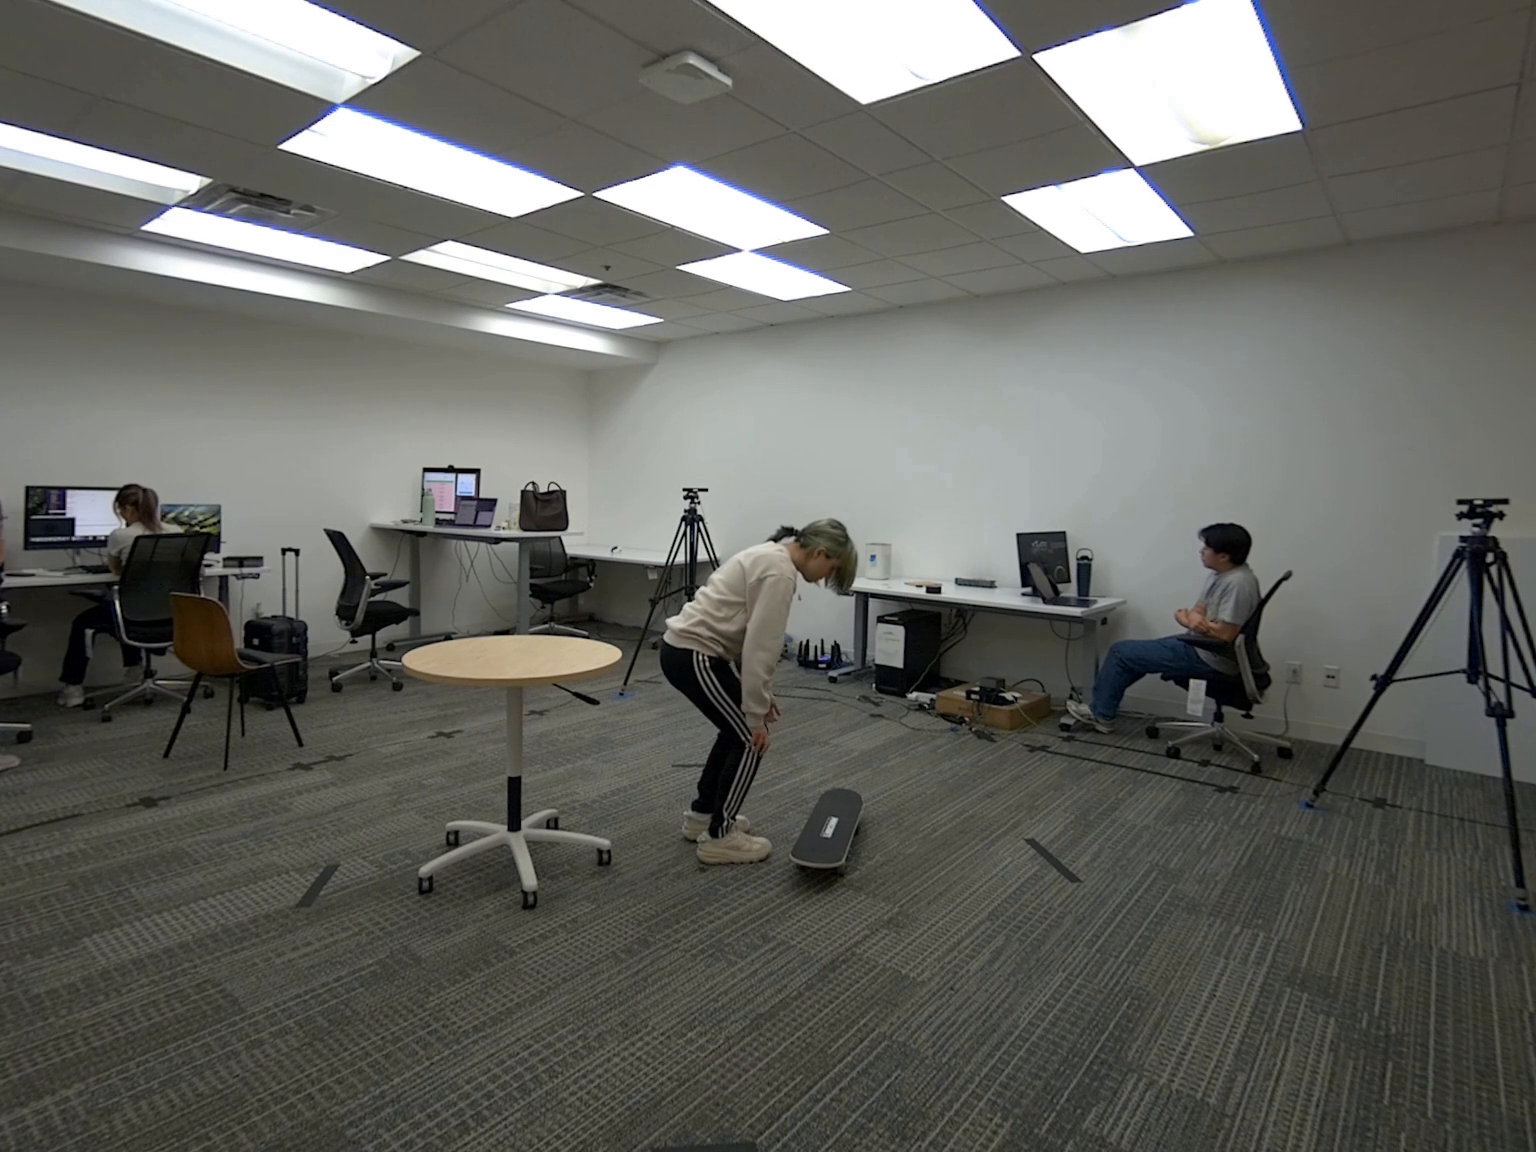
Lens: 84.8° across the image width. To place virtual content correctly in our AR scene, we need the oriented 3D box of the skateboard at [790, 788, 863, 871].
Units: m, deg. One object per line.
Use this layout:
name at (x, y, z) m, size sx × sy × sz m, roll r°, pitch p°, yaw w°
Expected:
skateboard at (0.232, 1.000, 3.309) m, size 0.197 × 0.110 × 0.775 m, roll 3°, pitch 6°, yaw 14°
